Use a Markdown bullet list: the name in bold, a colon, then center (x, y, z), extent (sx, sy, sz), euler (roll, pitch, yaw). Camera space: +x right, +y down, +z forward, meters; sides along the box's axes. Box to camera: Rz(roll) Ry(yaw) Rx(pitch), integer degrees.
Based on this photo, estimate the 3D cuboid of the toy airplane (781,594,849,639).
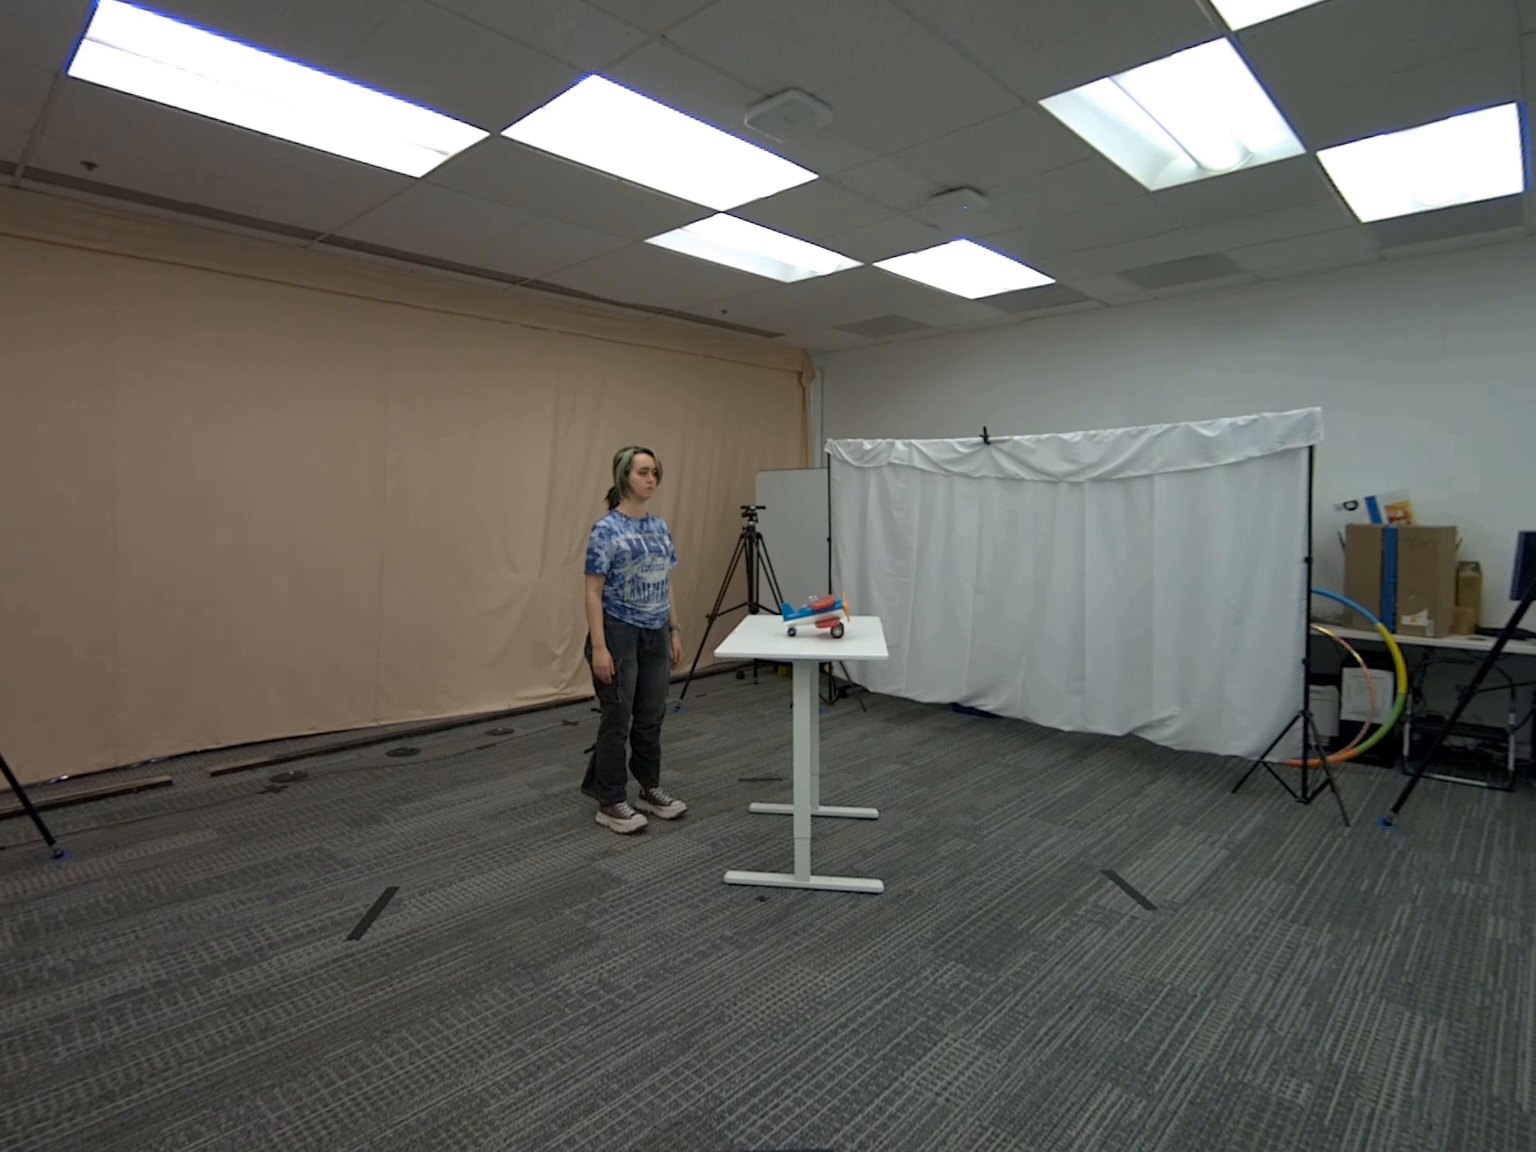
- **toy airplane**: center (0.186, 0.162, 3.266), extent (0.254, 0.156, 0.257), euler (-2, 5, -22)
